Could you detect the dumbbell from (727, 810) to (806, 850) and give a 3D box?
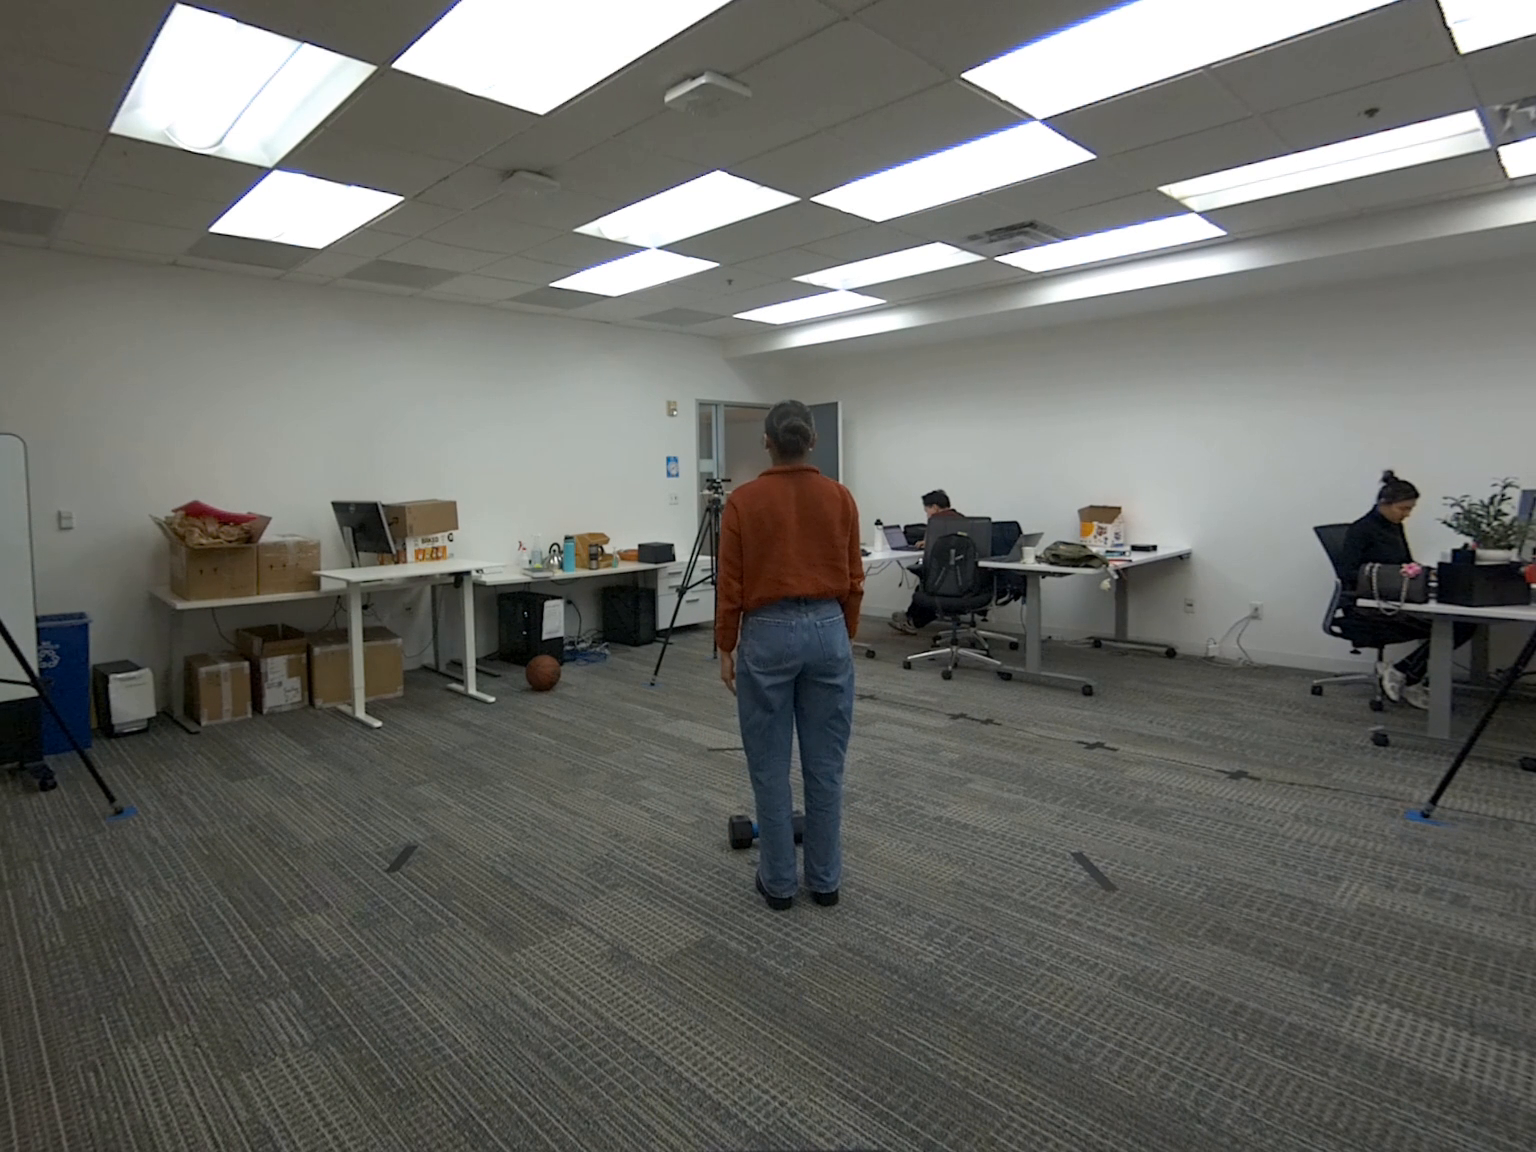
[{"bbox_3d":[0.000,0.971,3.272,0.291,0.108,0.125,-2,7,-10],"label":"dumbbell"}]
